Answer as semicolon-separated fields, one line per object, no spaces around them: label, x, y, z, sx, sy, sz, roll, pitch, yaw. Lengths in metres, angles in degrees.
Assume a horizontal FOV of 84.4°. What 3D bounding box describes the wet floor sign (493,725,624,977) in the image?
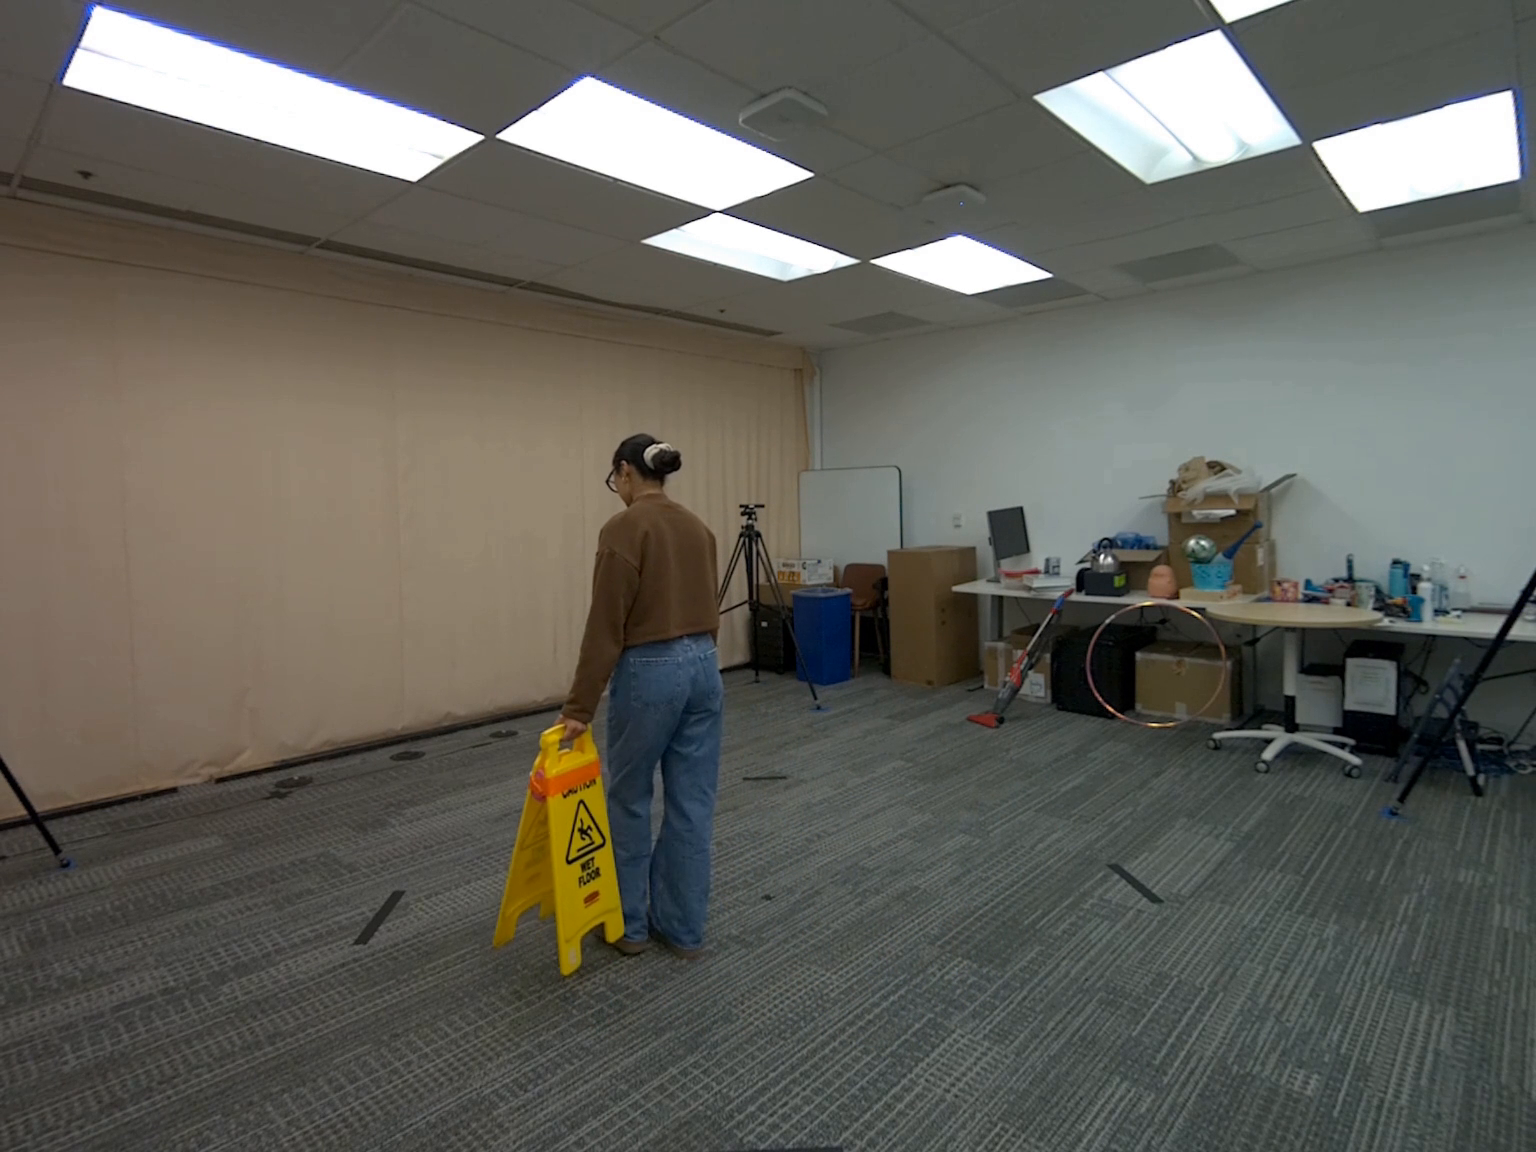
wet floor sign;-0.598;0.760;2.445;0.298;0.644;0.275;6;5;27
